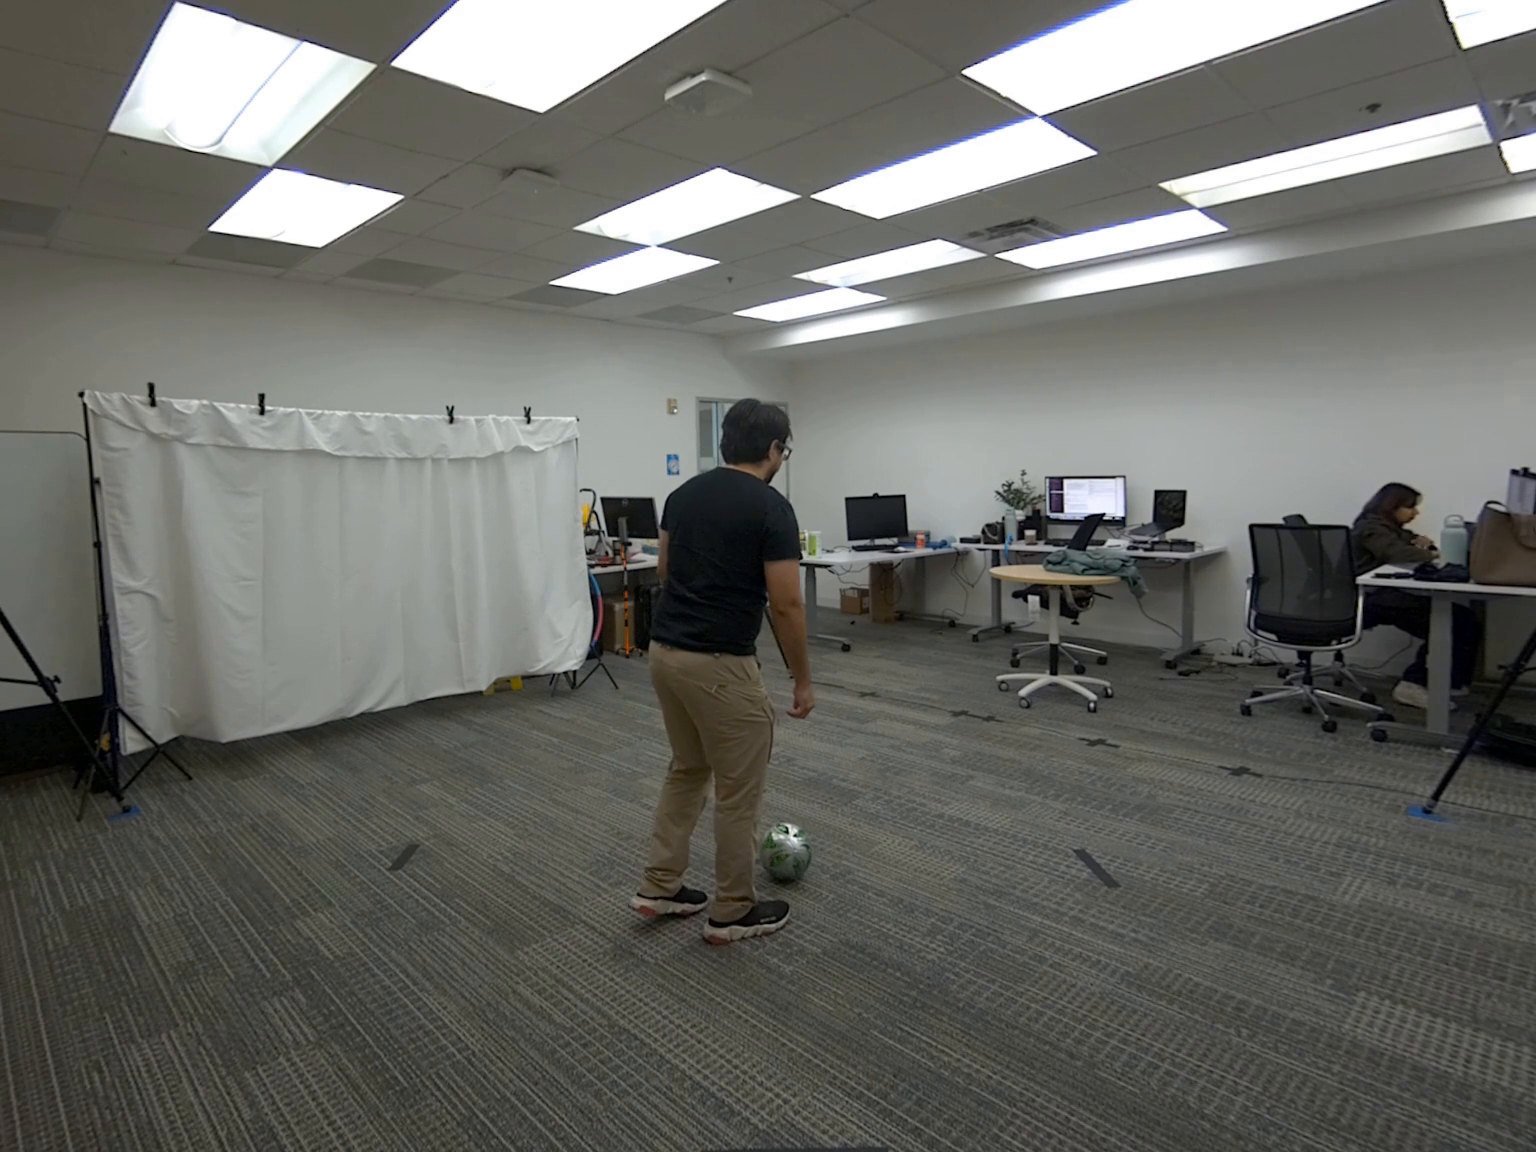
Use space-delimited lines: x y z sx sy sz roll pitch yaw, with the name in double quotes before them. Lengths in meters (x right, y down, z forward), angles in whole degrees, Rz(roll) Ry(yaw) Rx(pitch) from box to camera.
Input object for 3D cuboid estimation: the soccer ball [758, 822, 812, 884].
"soccer ball" 0.064 0.958 2.966 0.187 0.187 0.188 -1 5 -2
